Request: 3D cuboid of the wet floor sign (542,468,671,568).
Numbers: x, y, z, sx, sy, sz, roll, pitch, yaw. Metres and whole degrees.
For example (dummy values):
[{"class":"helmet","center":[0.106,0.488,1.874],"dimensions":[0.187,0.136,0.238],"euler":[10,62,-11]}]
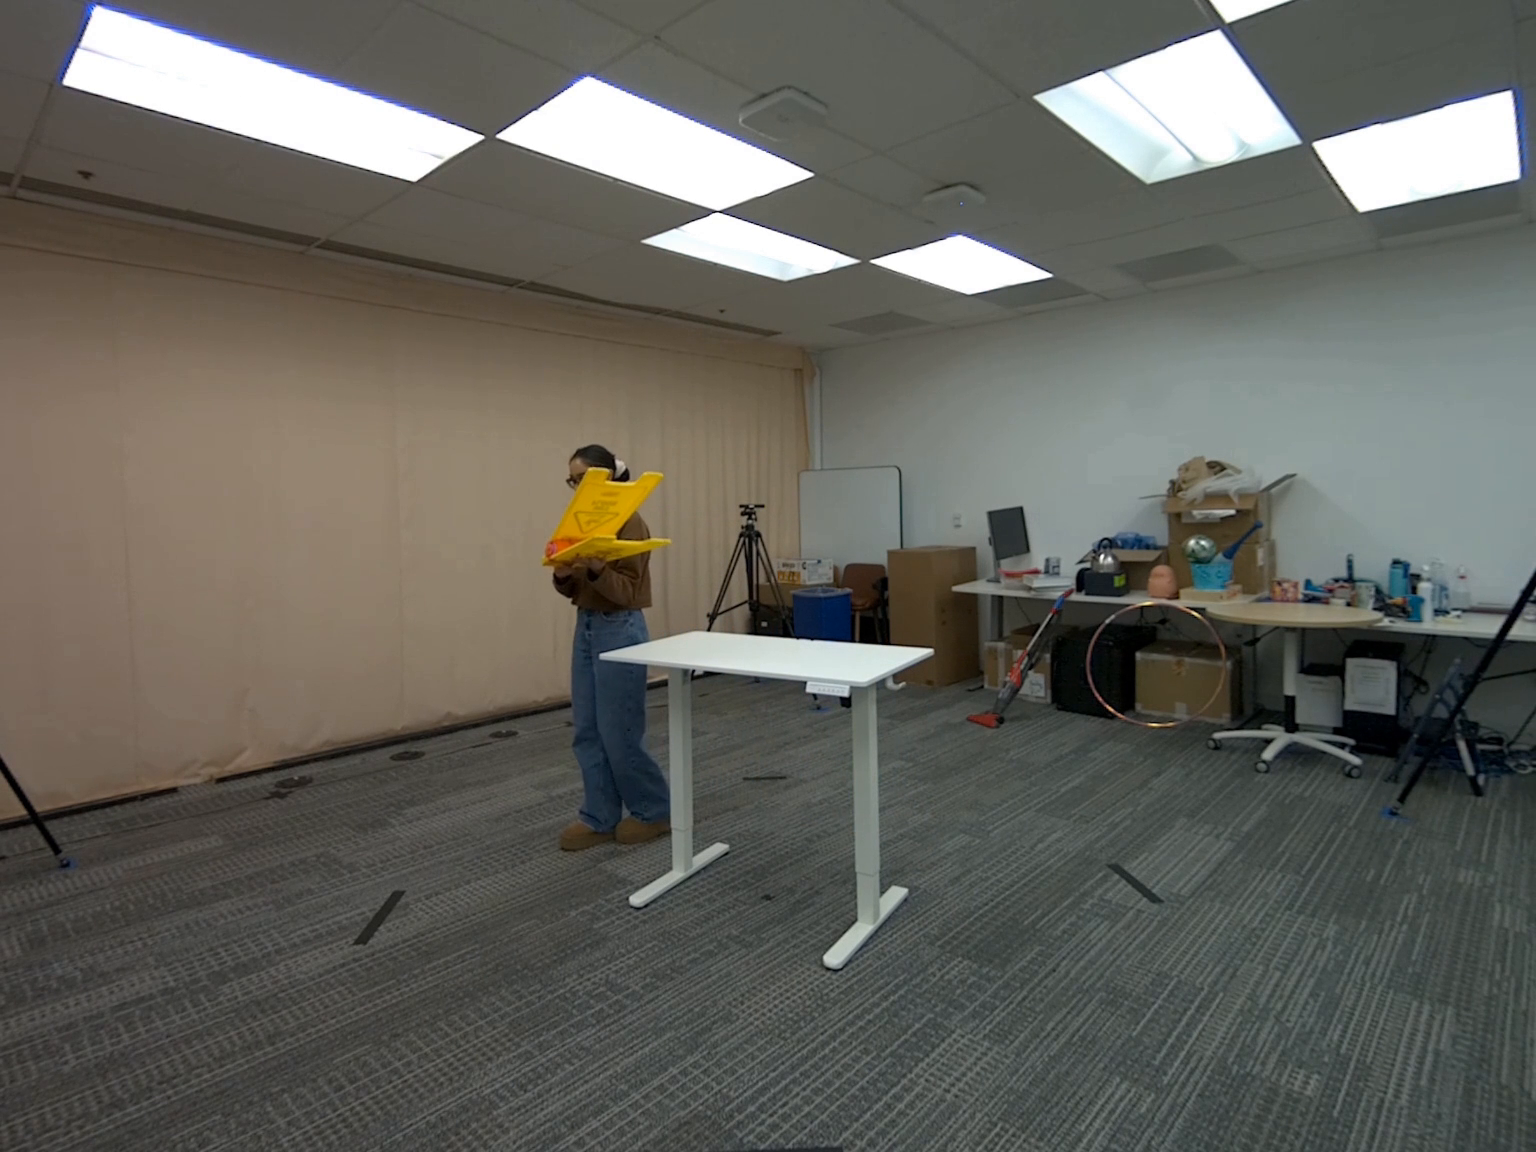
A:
[{"class":"wet floor sign","center":[-0.638,-0.139,3.078],"dimensions":[0.274,0.293,0.658],"euler":[2,-17,-34]}]
